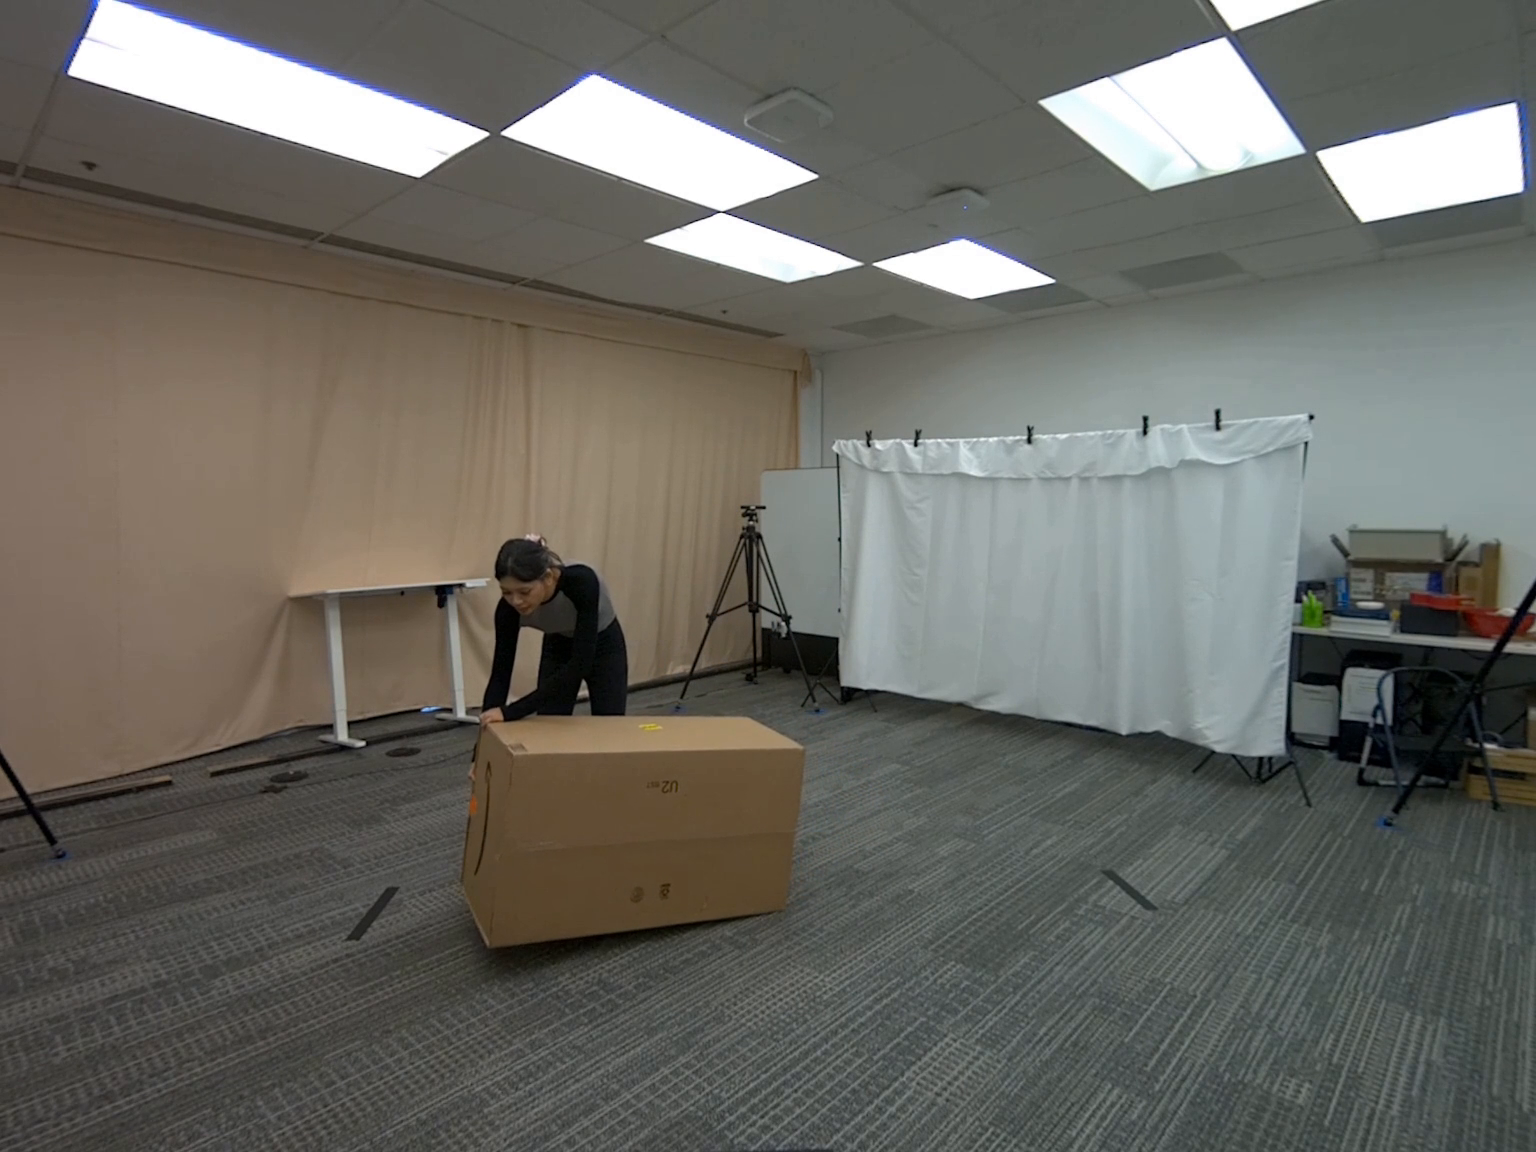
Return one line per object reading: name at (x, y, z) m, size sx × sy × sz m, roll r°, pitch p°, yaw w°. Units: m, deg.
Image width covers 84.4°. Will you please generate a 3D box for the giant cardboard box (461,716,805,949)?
giant cardboard box at (-0.432, 0.814, 2.830) m, size 0.998 × 0.583 × 0.460 m, roll 5°, pitch 1°, yaw -30°
